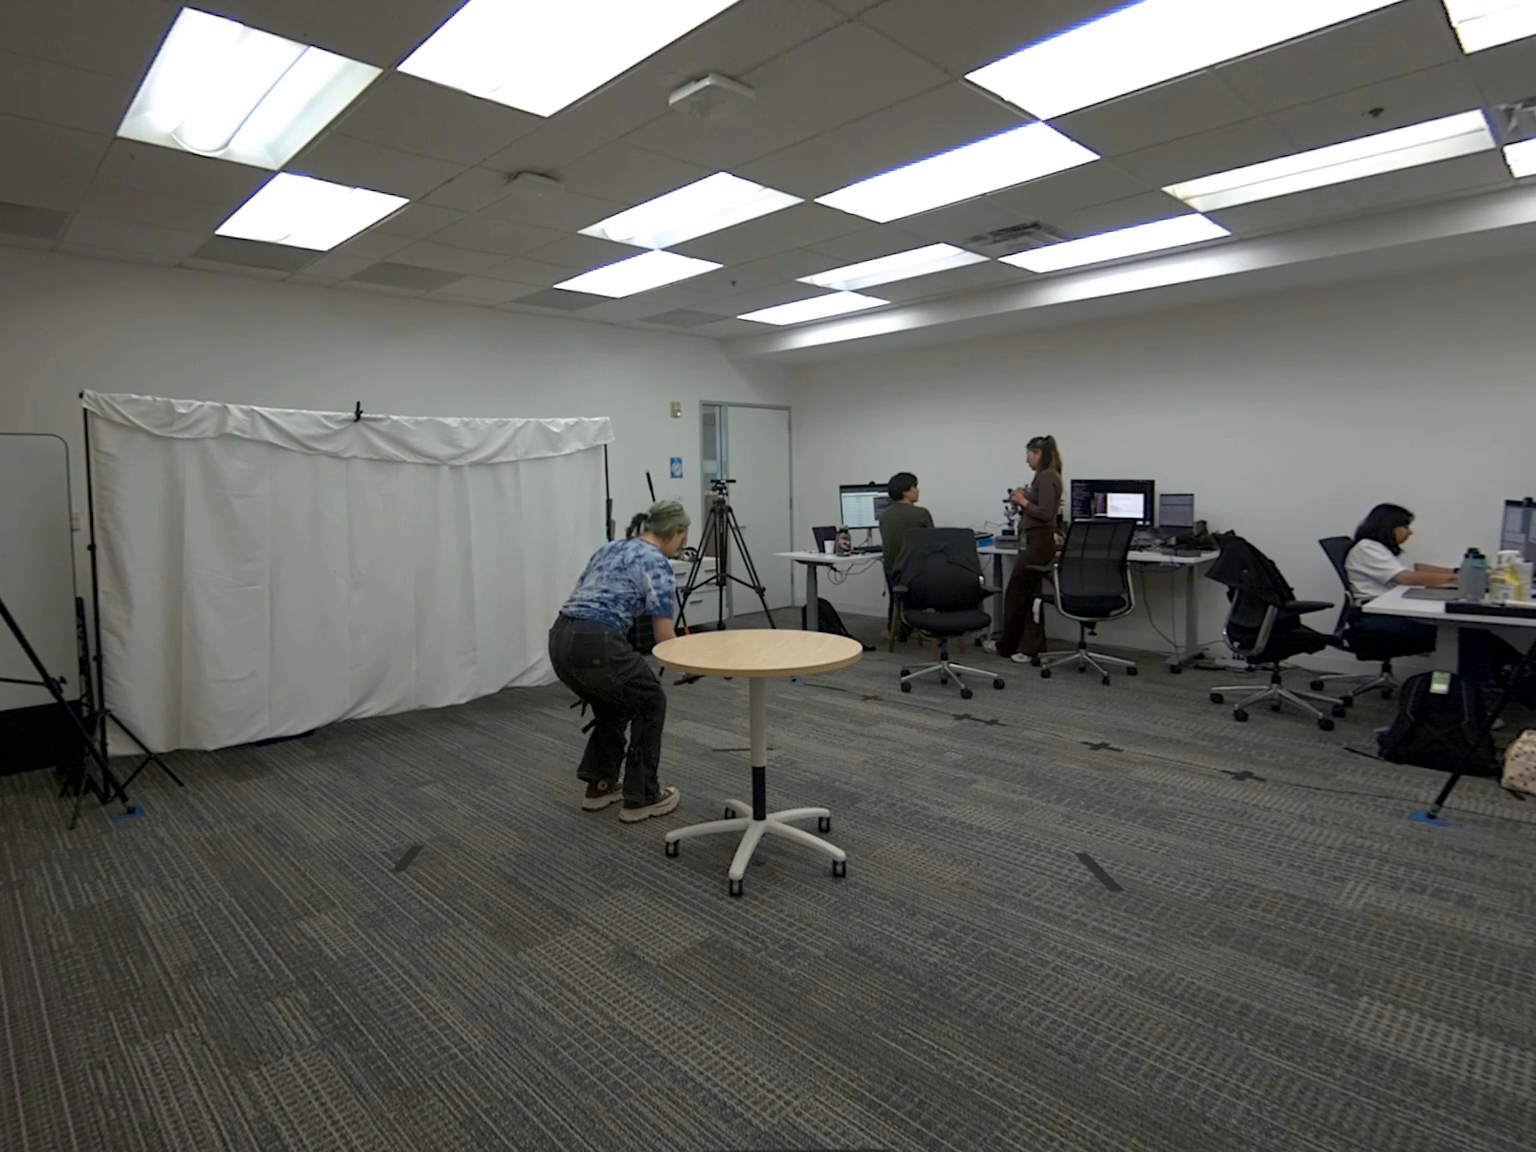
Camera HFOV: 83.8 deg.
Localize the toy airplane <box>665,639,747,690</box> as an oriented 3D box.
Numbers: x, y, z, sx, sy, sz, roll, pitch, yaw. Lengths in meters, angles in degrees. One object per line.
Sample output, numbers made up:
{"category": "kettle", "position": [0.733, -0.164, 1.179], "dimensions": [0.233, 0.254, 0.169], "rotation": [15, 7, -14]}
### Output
{"category": "toy airplane", "position": [-0.278, 0.389, 3.823], "dimensions": [0.258, 0.156, 0.252], "rotation": [3, 5, 38]}
